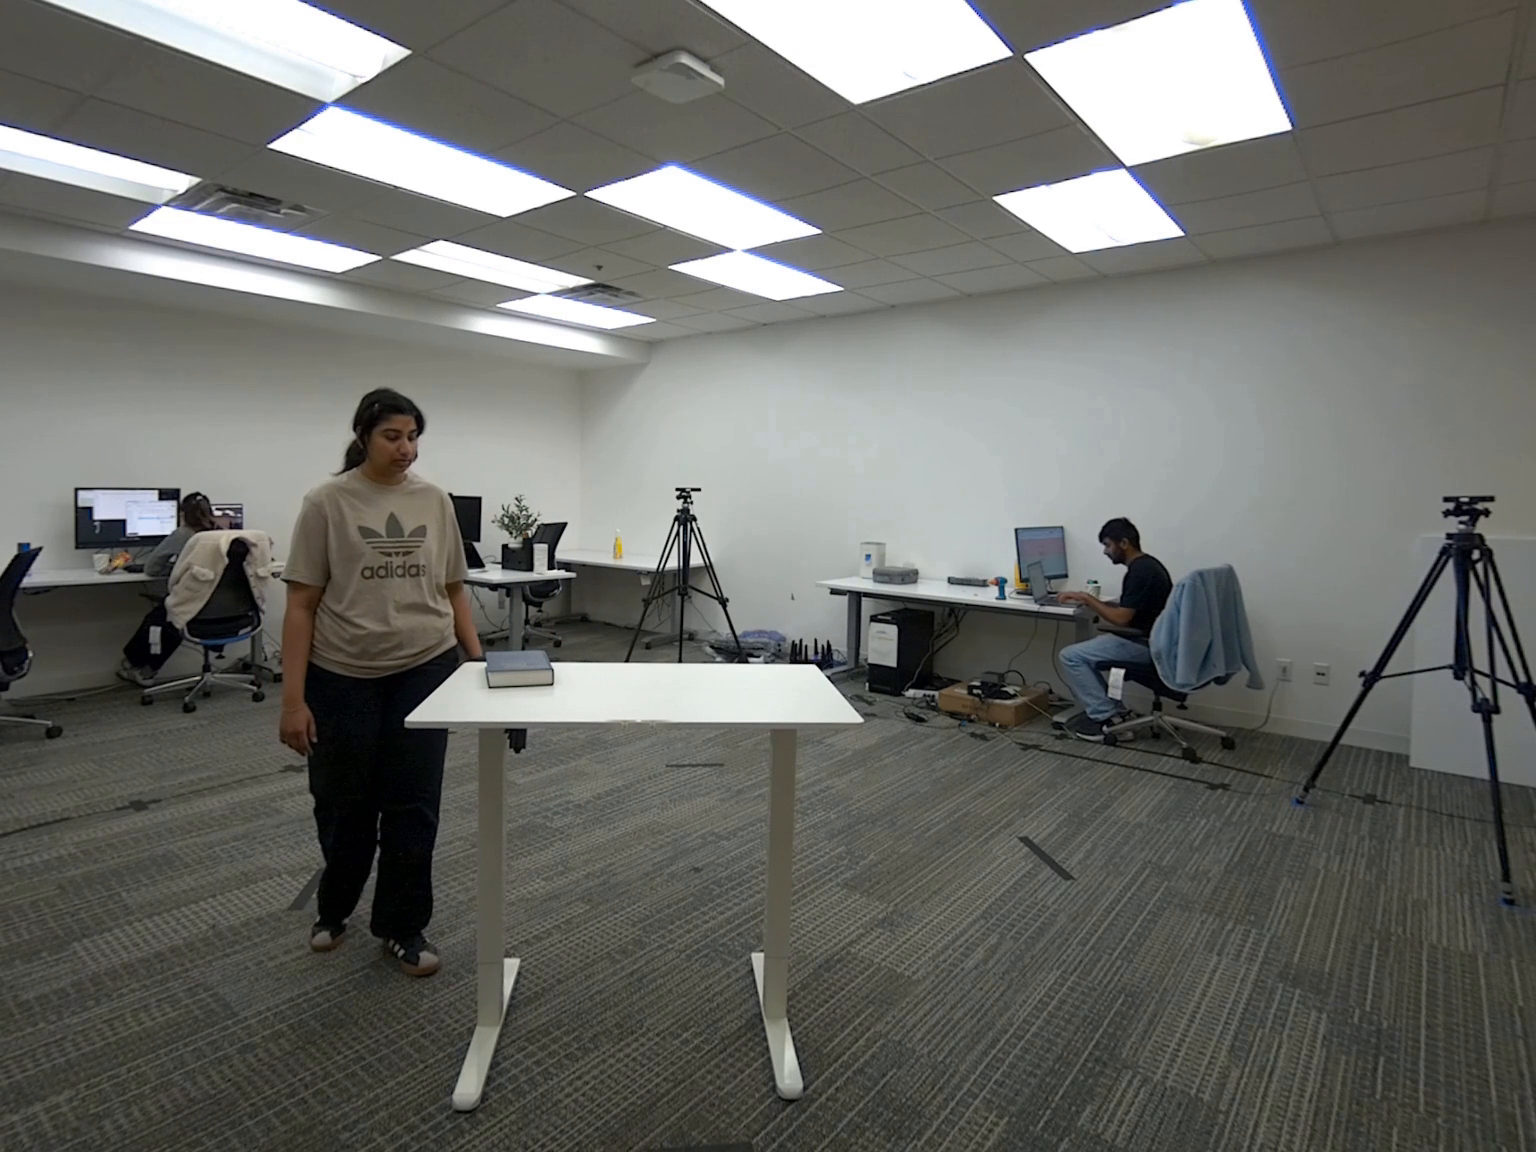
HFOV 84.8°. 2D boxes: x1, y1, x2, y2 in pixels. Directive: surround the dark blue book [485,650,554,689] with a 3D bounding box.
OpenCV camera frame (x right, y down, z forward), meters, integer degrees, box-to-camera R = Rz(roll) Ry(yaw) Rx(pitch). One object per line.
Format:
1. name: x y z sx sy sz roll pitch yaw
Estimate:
1. dark blue book: -0.674 0.246 2.236 0.160 0.045 0.251 -1 7 -20
